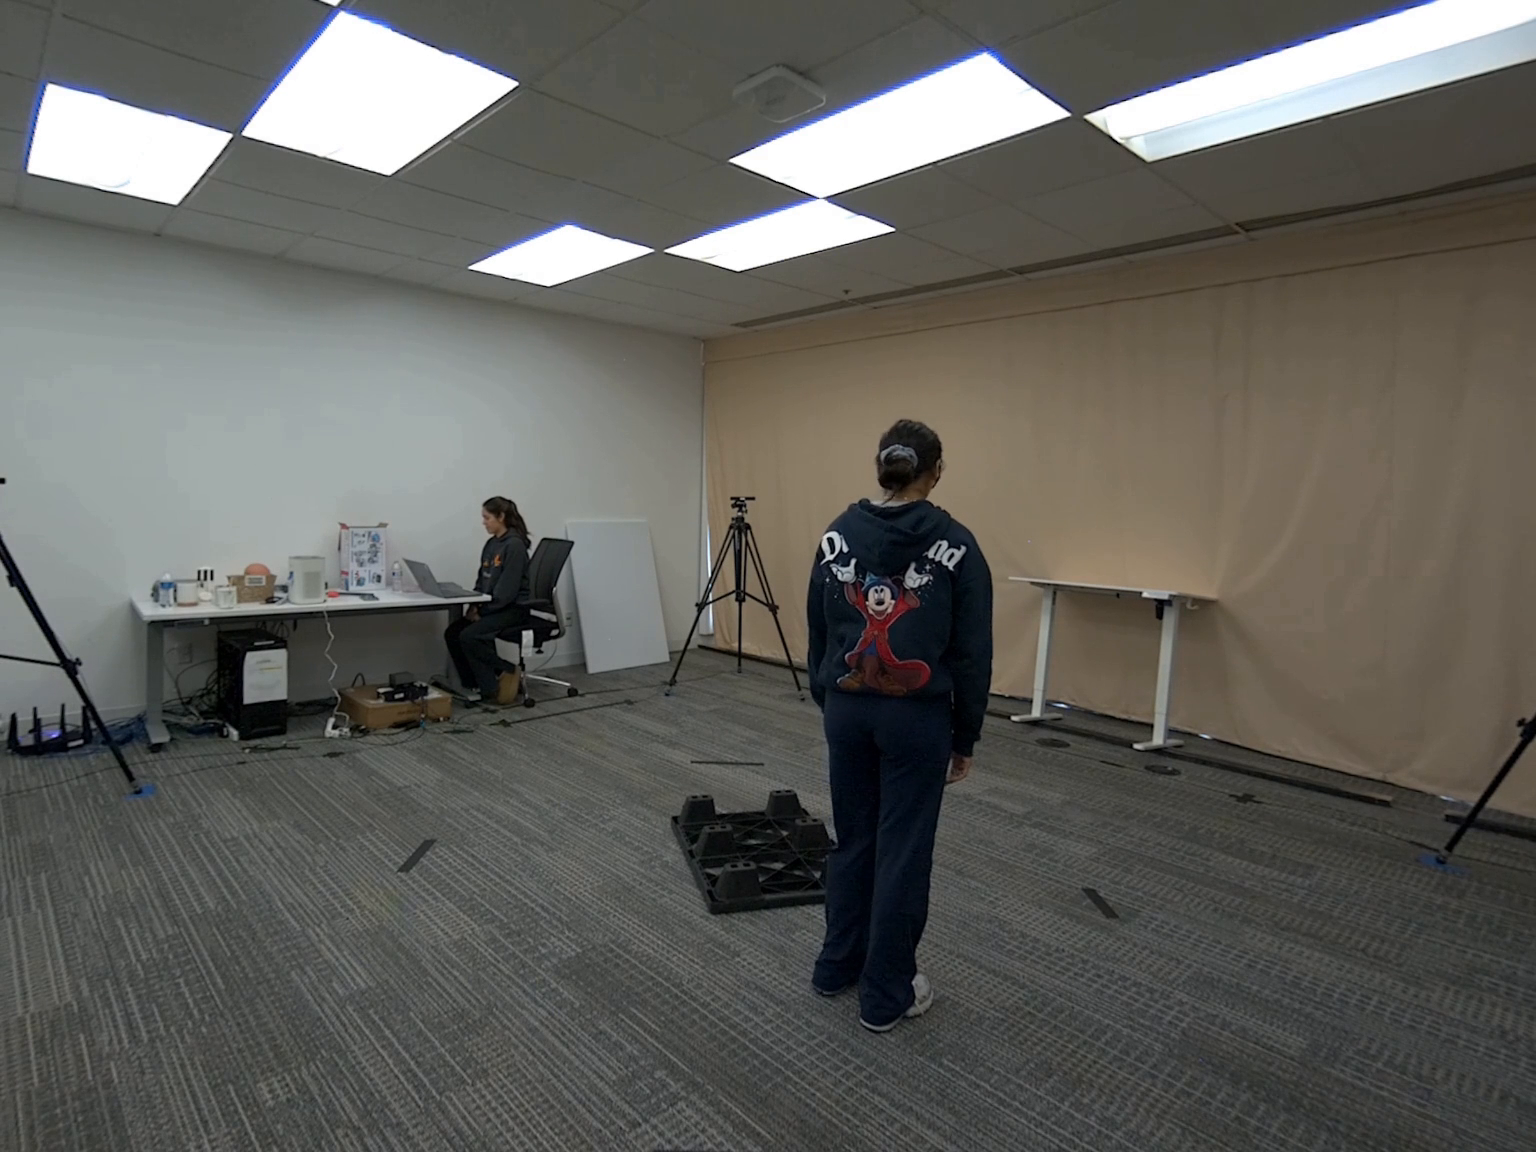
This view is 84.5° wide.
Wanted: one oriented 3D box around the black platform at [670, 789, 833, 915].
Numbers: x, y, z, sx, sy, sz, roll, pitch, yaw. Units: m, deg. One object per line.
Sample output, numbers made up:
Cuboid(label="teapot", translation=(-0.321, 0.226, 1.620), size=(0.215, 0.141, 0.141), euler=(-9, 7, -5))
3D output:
Cuboid(label="black platform", translation=(-0.026, 1.025, 3.263), size=(0.597, 0.143, 0.818), euler=(0, 5, -17))
